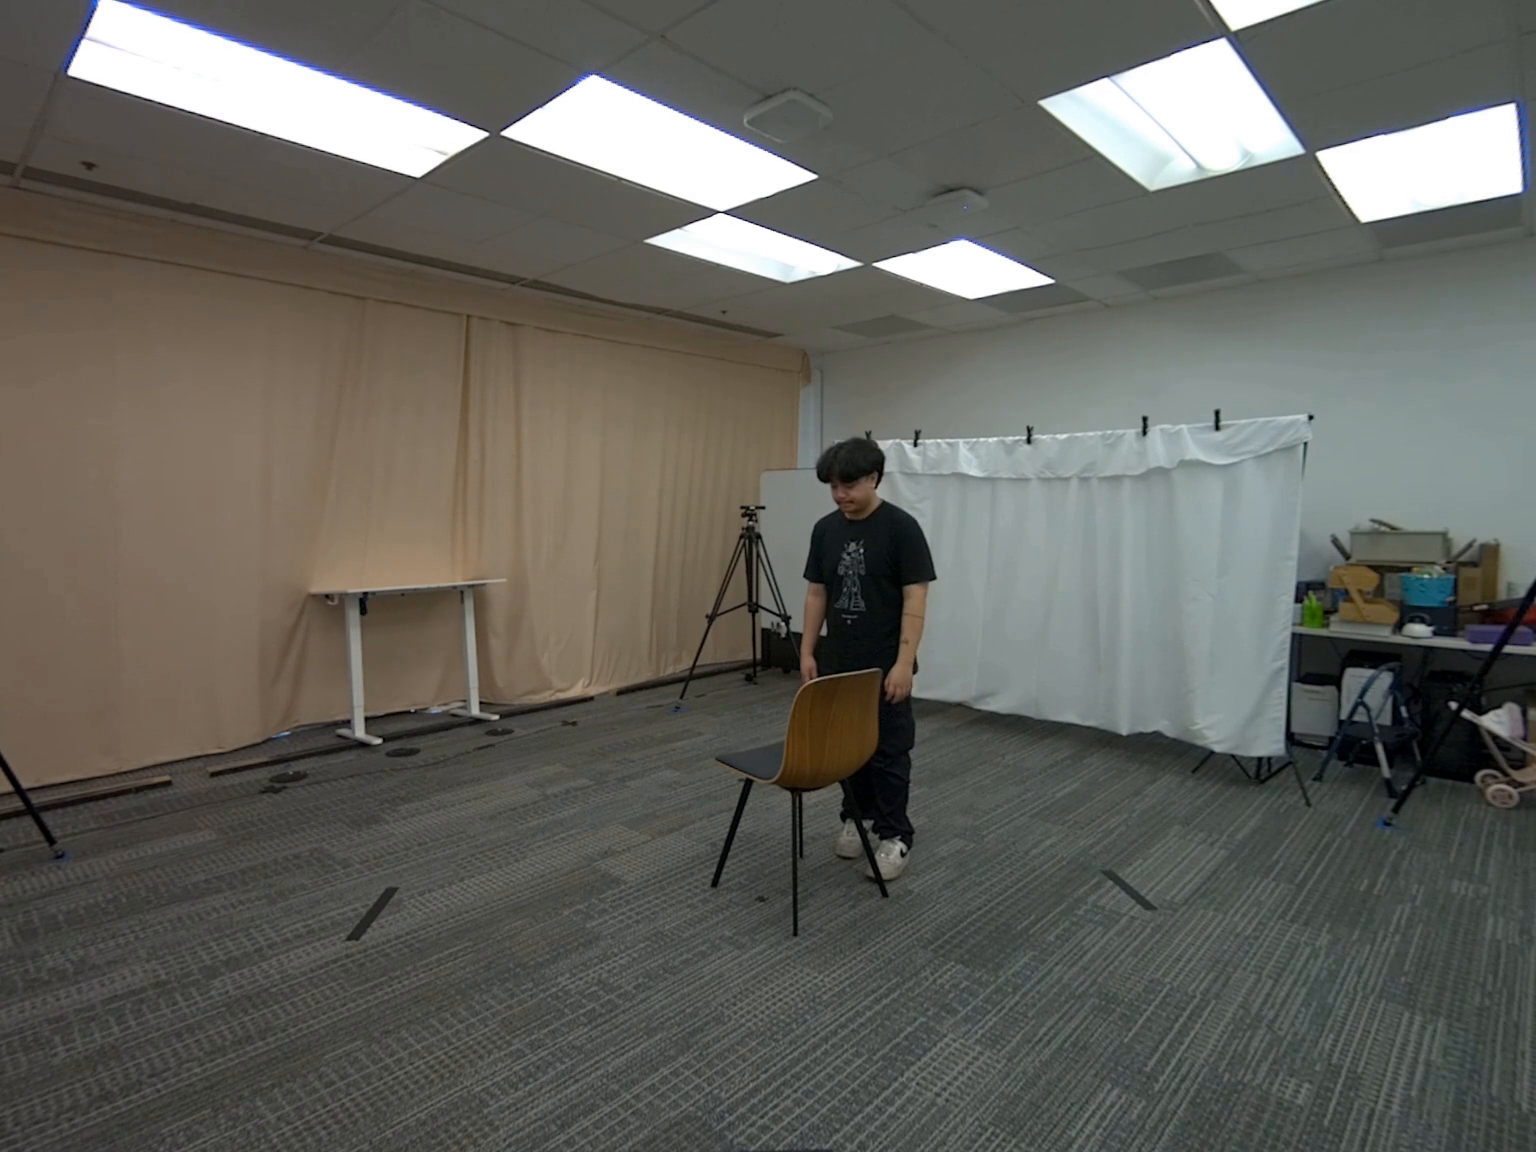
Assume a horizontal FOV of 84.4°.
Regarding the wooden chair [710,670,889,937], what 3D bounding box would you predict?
[{"bbox_3d":[0.101,0.711,3.010,0.464,0.874,0.541,-3,9,-39],"label":"wooden chair"}]
